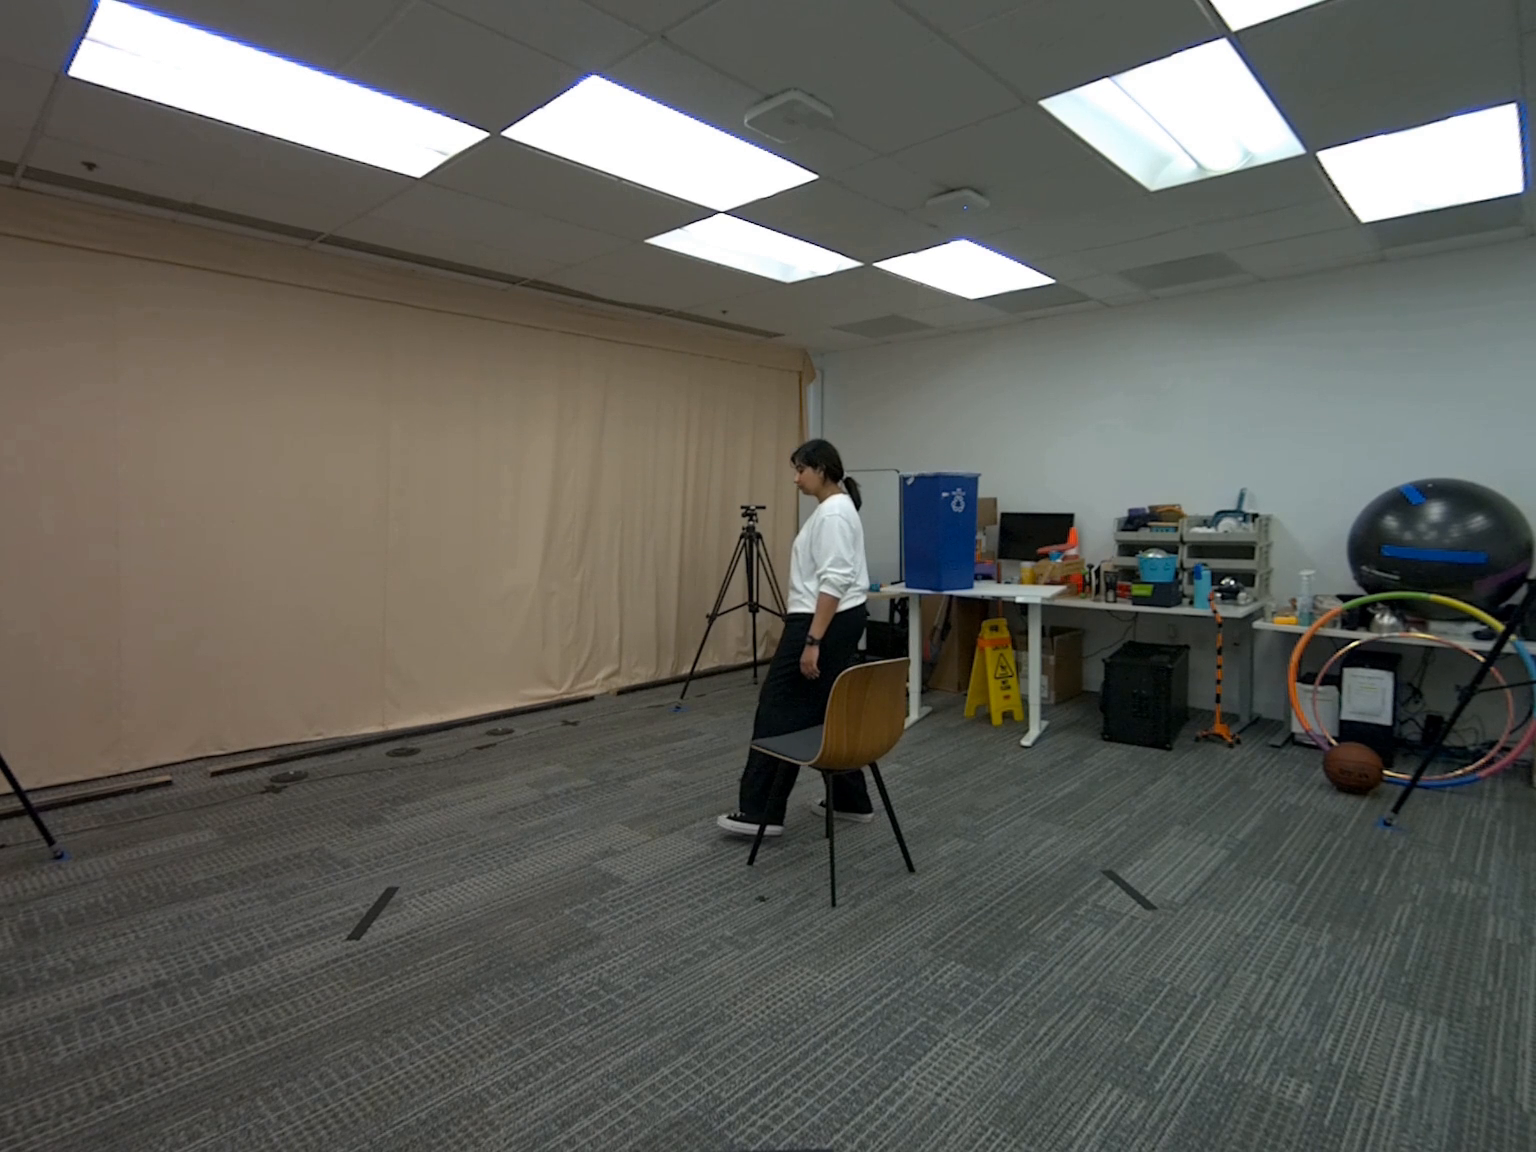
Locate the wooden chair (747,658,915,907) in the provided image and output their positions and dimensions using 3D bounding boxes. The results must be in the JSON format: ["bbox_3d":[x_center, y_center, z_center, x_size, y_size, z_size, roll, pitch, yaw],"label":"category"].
[{"bbox_3d":[0.231,0.692,3.203,0.463,0.874,0.541,-3,9,-41],"label":"wooden chair"}]
